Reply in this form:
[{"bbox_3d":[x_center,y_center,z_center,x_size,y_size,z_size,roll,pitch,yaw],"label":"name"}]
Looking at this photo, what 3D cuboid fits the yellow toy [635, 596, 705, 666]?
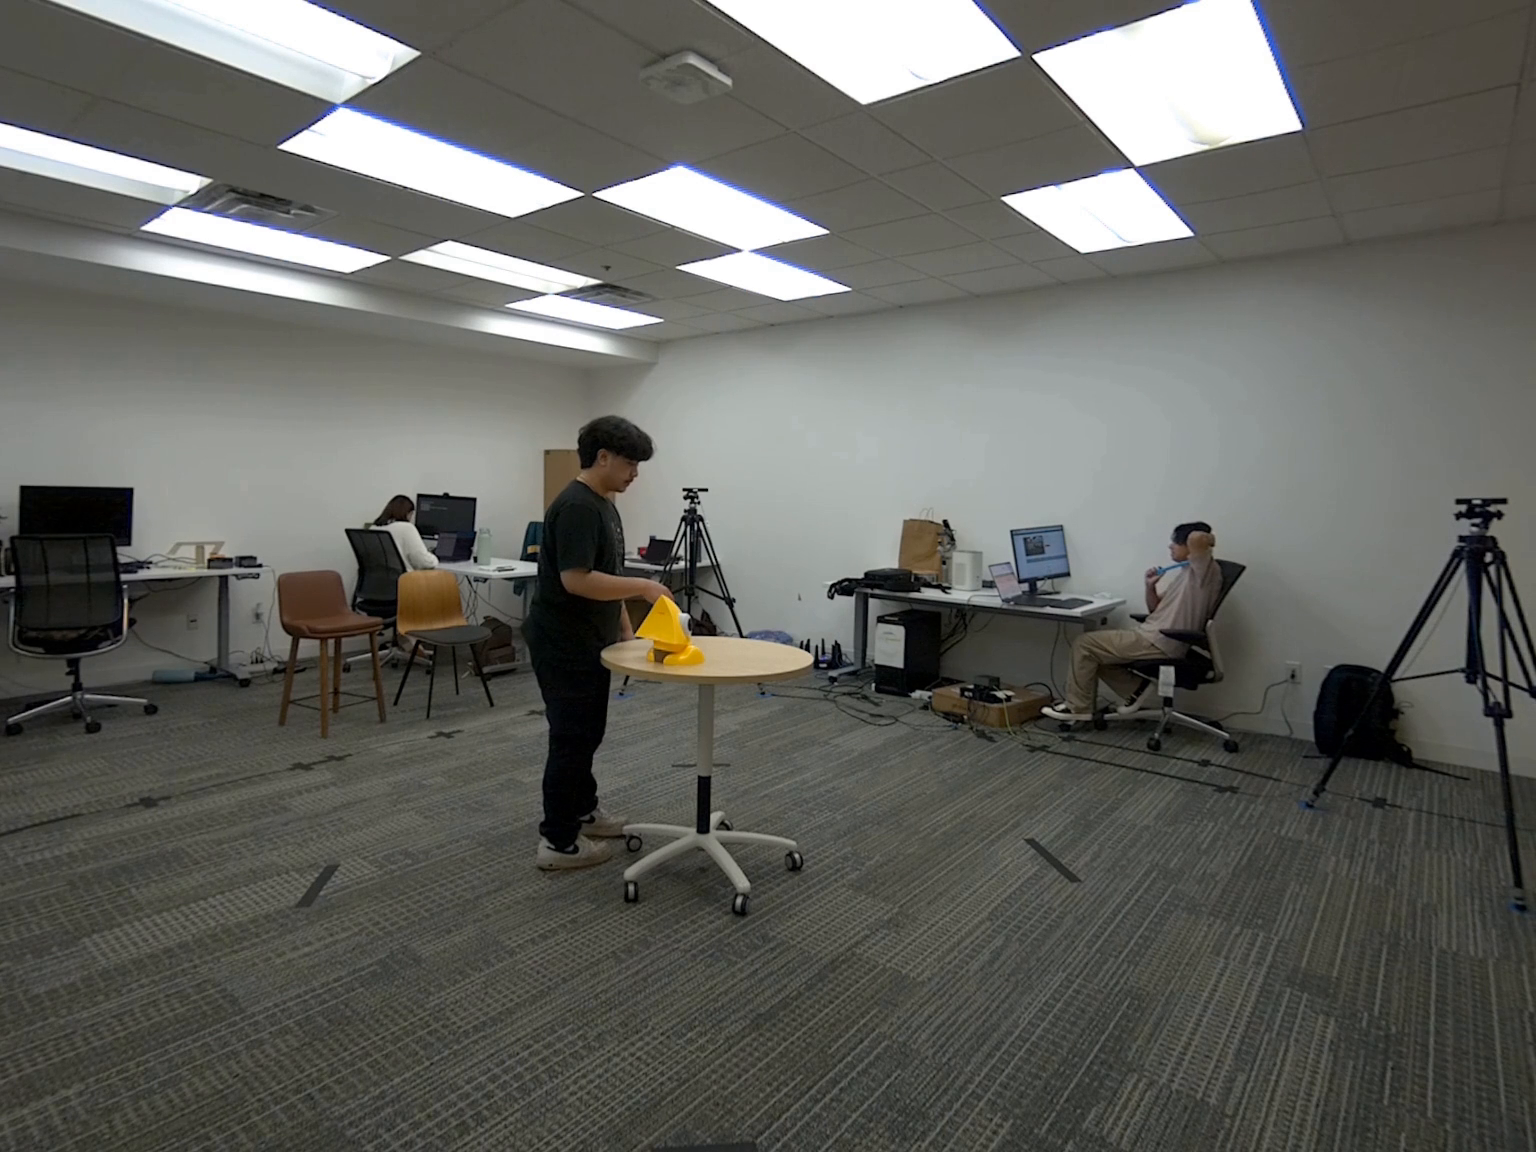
[{"bbox_3d":[-0.332,0.173,2.937,0.212,0.230,0.187,4,4,42],"label":"yellow toy"}]
